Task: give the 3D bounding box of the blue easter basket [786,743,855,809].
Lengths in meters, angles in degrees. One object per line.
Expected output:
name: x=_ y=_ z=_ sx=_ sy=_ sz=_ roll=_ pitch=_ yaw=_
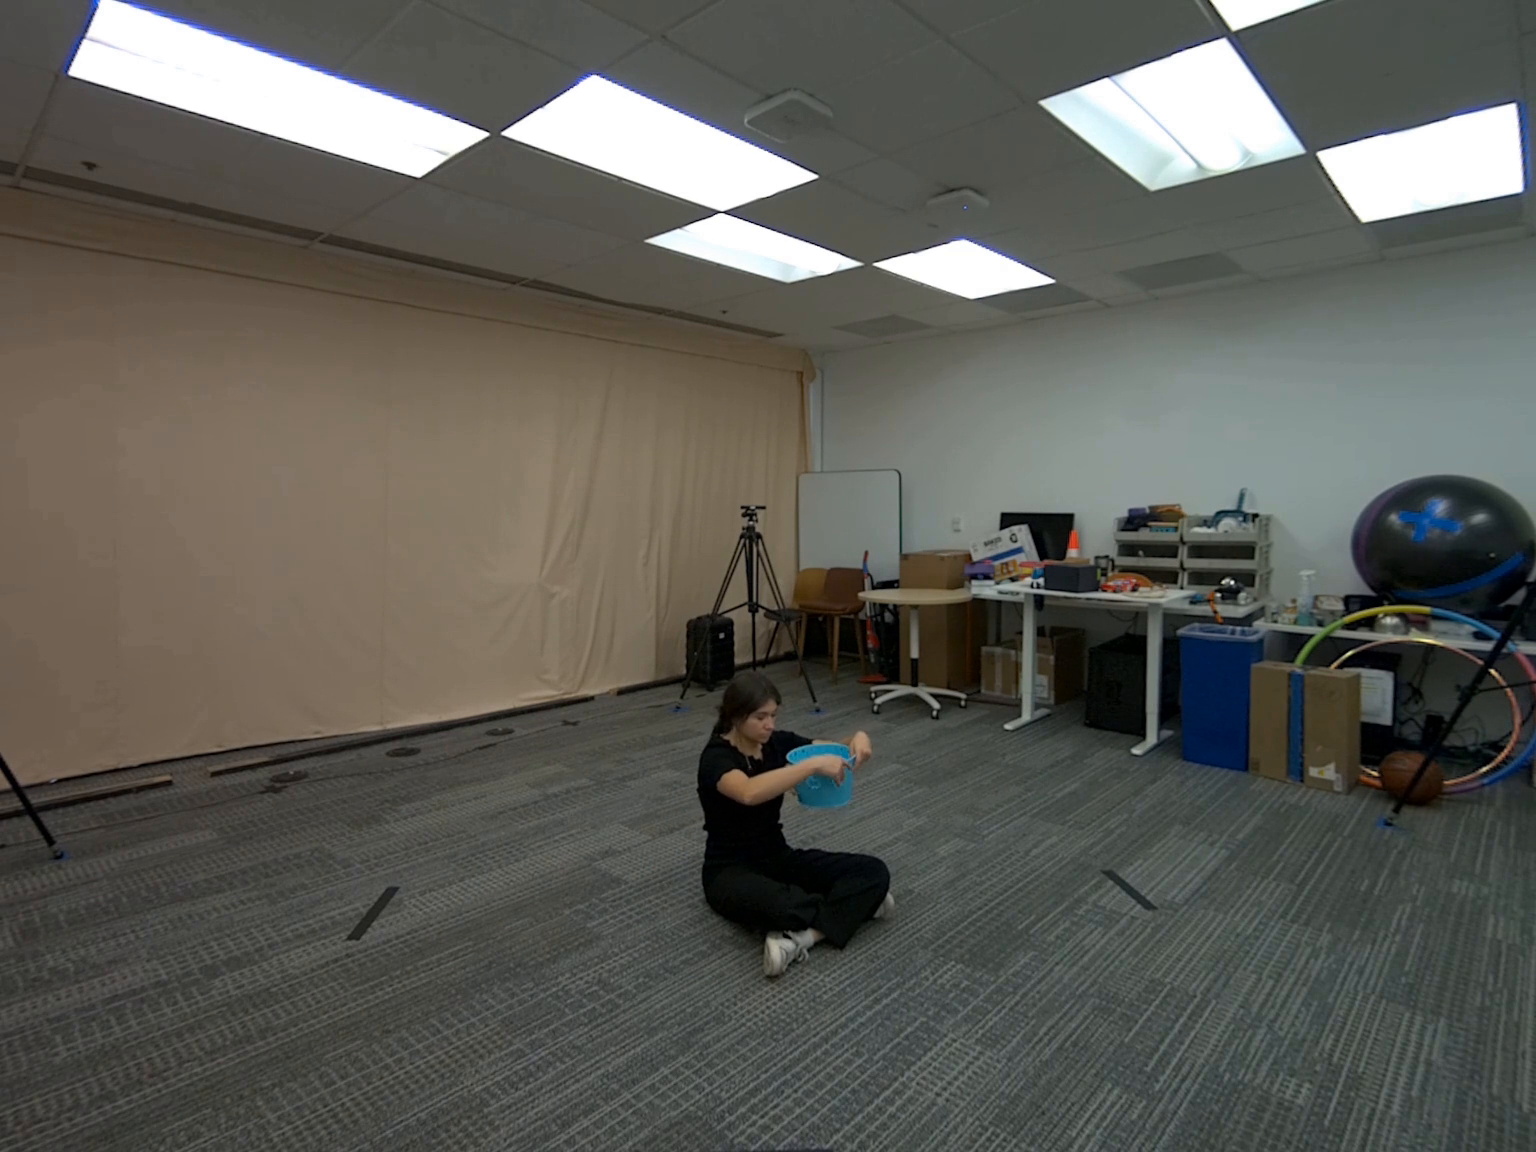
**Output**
blue easter basket: x=0.187 y=0.683 z=2.838 sx=0.243 sy=0.155 sz=0.244 roll=-6 pitch=5 yaw=-1
